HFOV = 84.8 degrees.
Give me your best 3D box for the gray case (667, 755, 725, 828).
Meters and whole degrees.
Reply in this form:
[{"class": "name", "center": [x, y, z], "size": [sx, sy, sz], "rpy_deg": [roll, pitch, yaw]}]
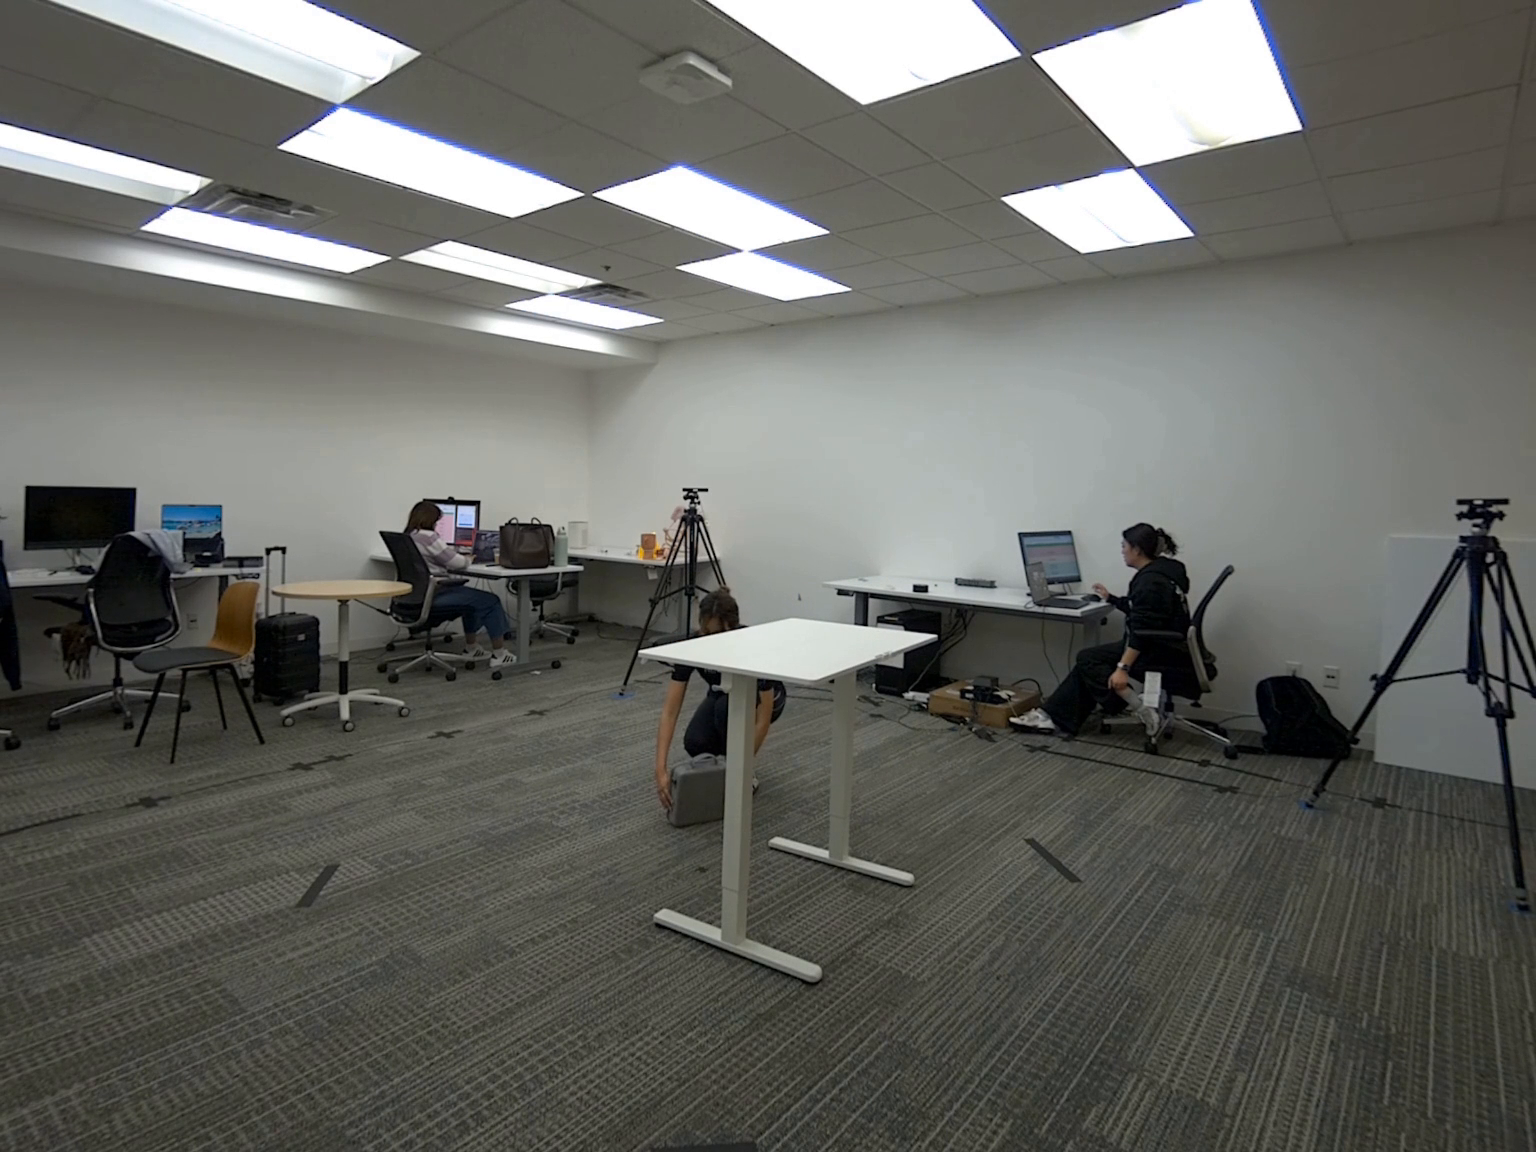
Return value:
[{"class": "gray case", "center": [-0.301, 0.888, 3.551], "size": [0.250, 0.258, 0.108], "rpy_deg": [-2, 14, -28]}]
